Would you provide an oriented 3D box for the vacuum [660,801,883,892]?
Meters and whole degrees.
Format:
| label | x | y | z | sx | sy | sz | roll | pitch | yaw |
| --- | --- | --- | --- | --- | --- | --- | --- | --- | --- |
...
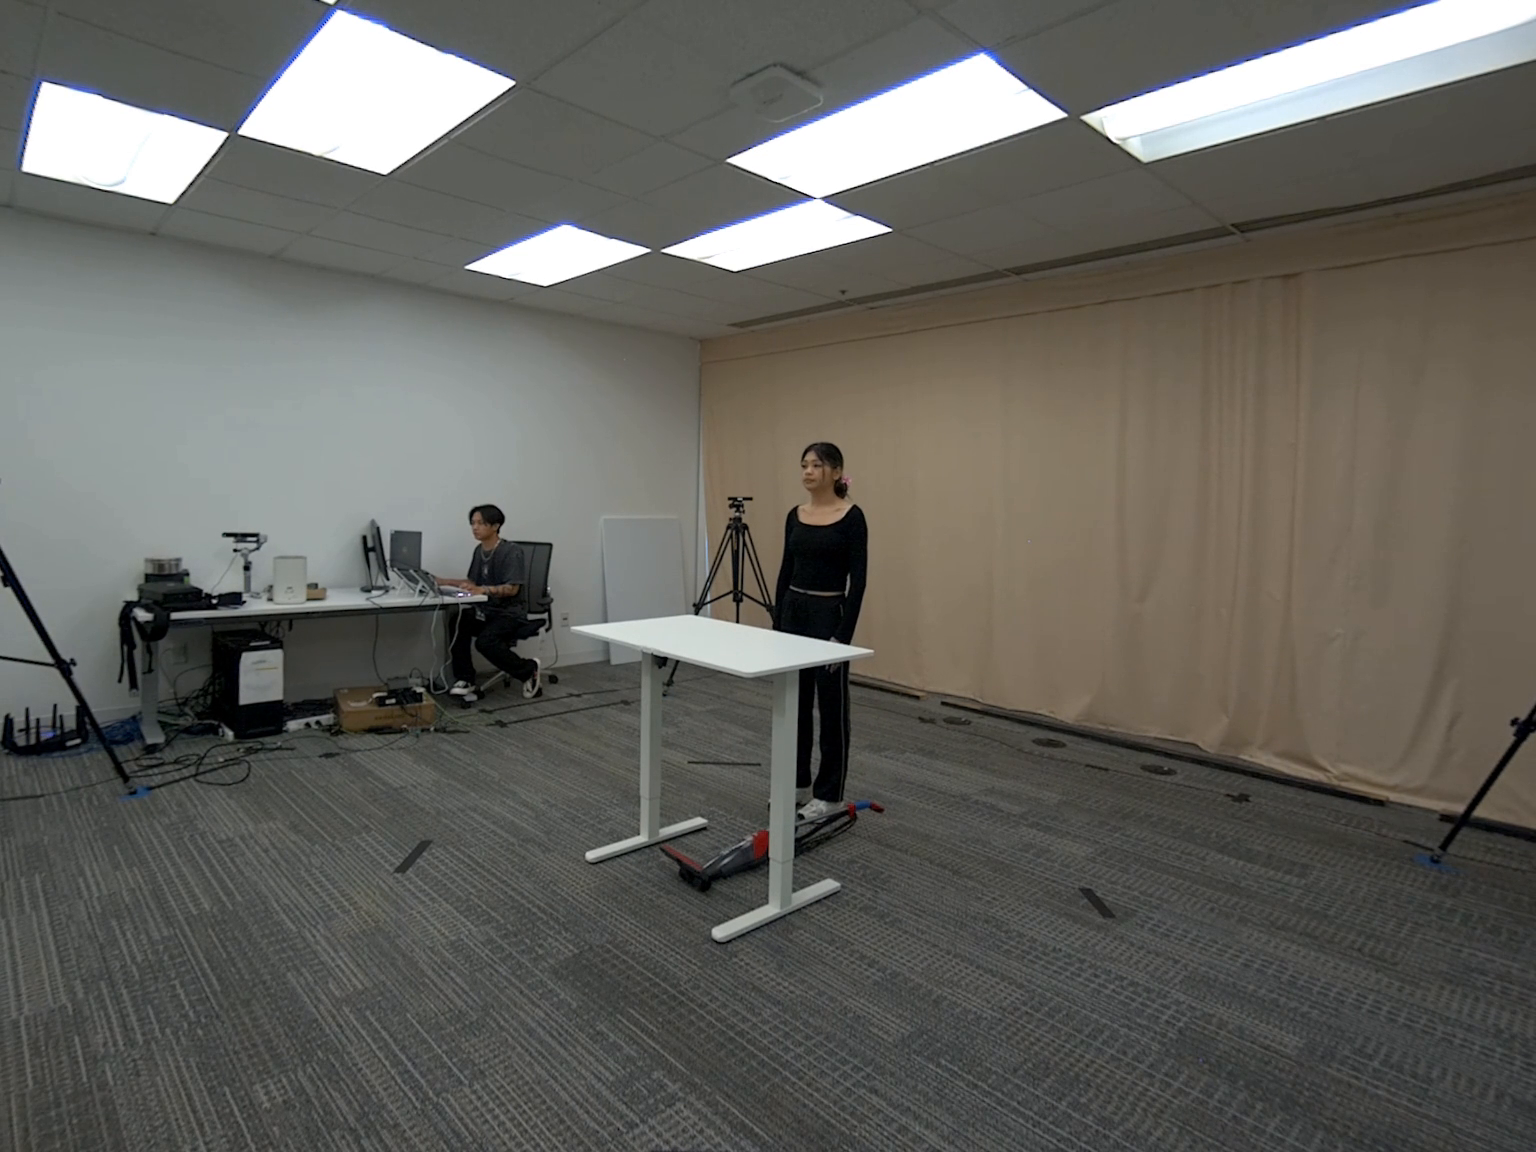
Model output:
| label | x | y | z | sx | sy | sz | roll | pitch | yaw |
| --- | --- | --- | --- | --- | --- | --- | --- | --- | --- |
| vacuum | 0.094 | 1.042 | 3.329 | 1.025 | 0.143 | 0.259 | -2 | 6 | -40 |
